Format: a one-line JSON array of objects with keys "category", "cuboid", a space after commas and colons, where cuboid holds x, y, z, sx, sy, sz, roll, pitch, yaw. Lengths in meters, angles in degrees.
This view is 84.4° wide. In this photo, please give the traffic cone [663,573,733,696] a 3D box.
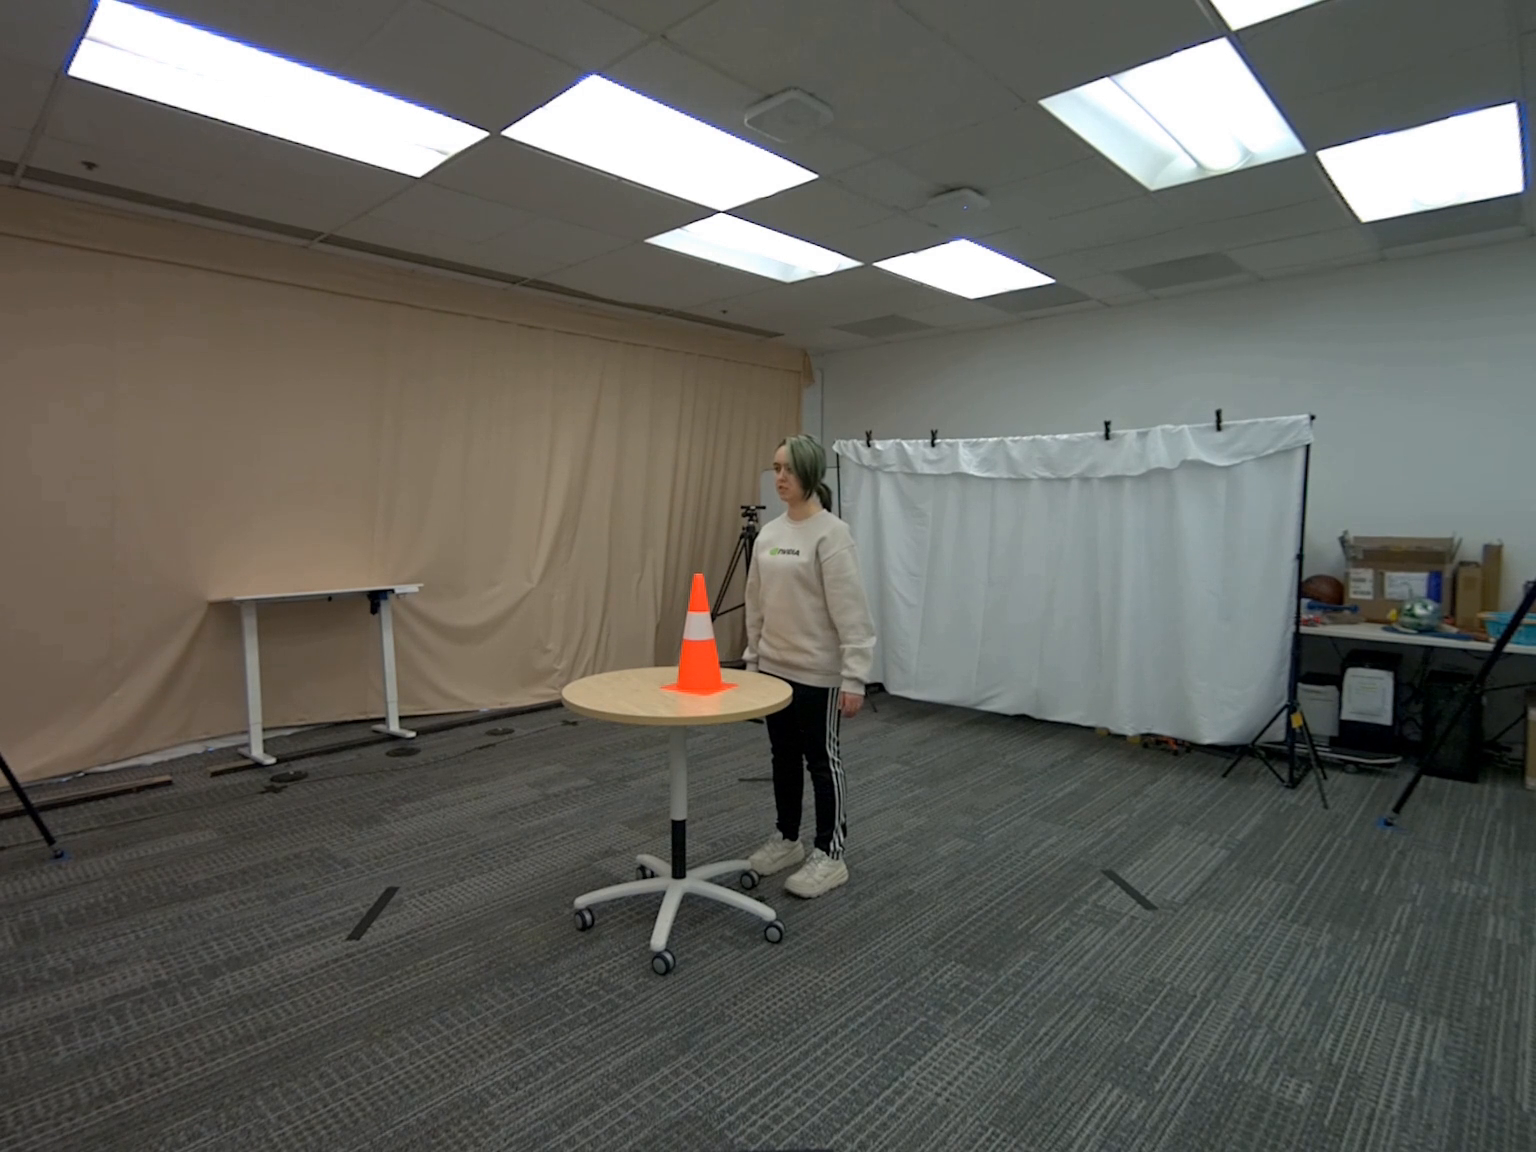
[{"category": "traffic cone", "cuboid": [-0.232, 0.189, 2.831, 0.211, 0.383, 0.197, 1, 3, 36]}]
